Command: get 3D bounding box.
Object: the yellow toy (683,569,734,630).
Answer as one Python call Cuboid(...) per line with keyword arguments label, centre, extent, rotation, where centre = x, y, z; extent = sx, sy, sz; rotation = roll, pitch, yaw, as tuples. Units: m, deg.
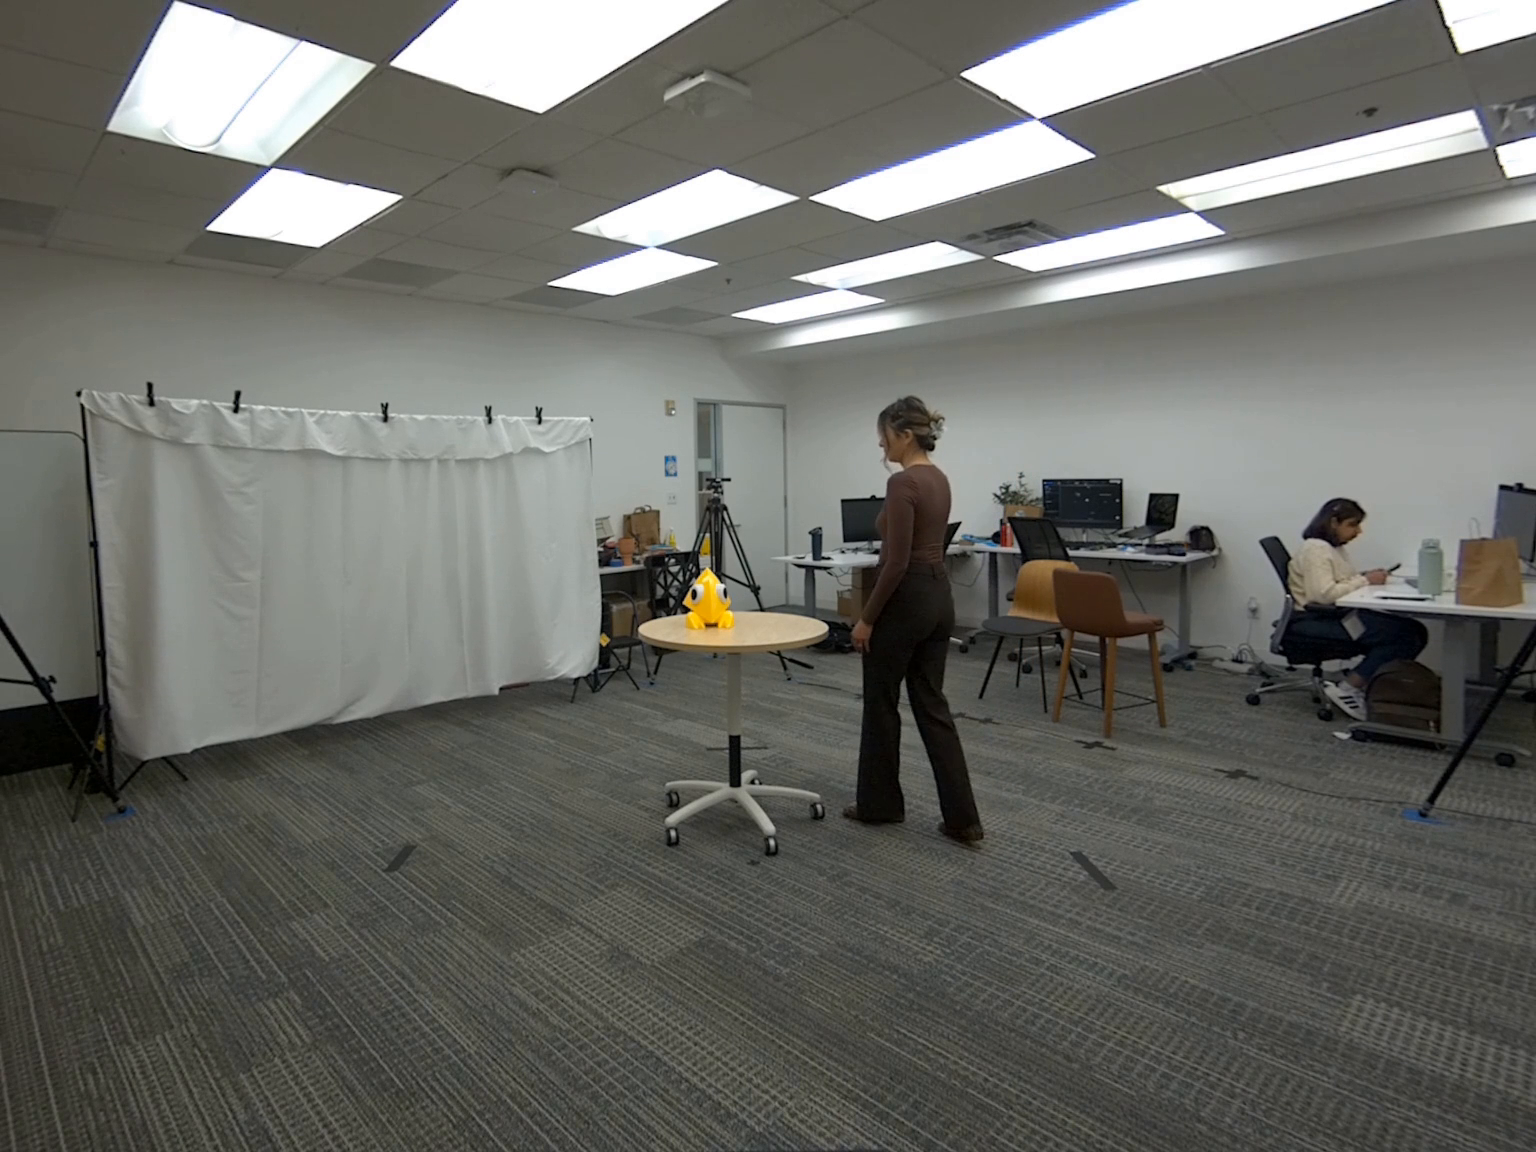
Cuboid(label="yellow toy", centre=(-0.234, 0.084, 3.498), extent=(0.203, 0.230, 0.195), rotation=(-1, 4, -9))
